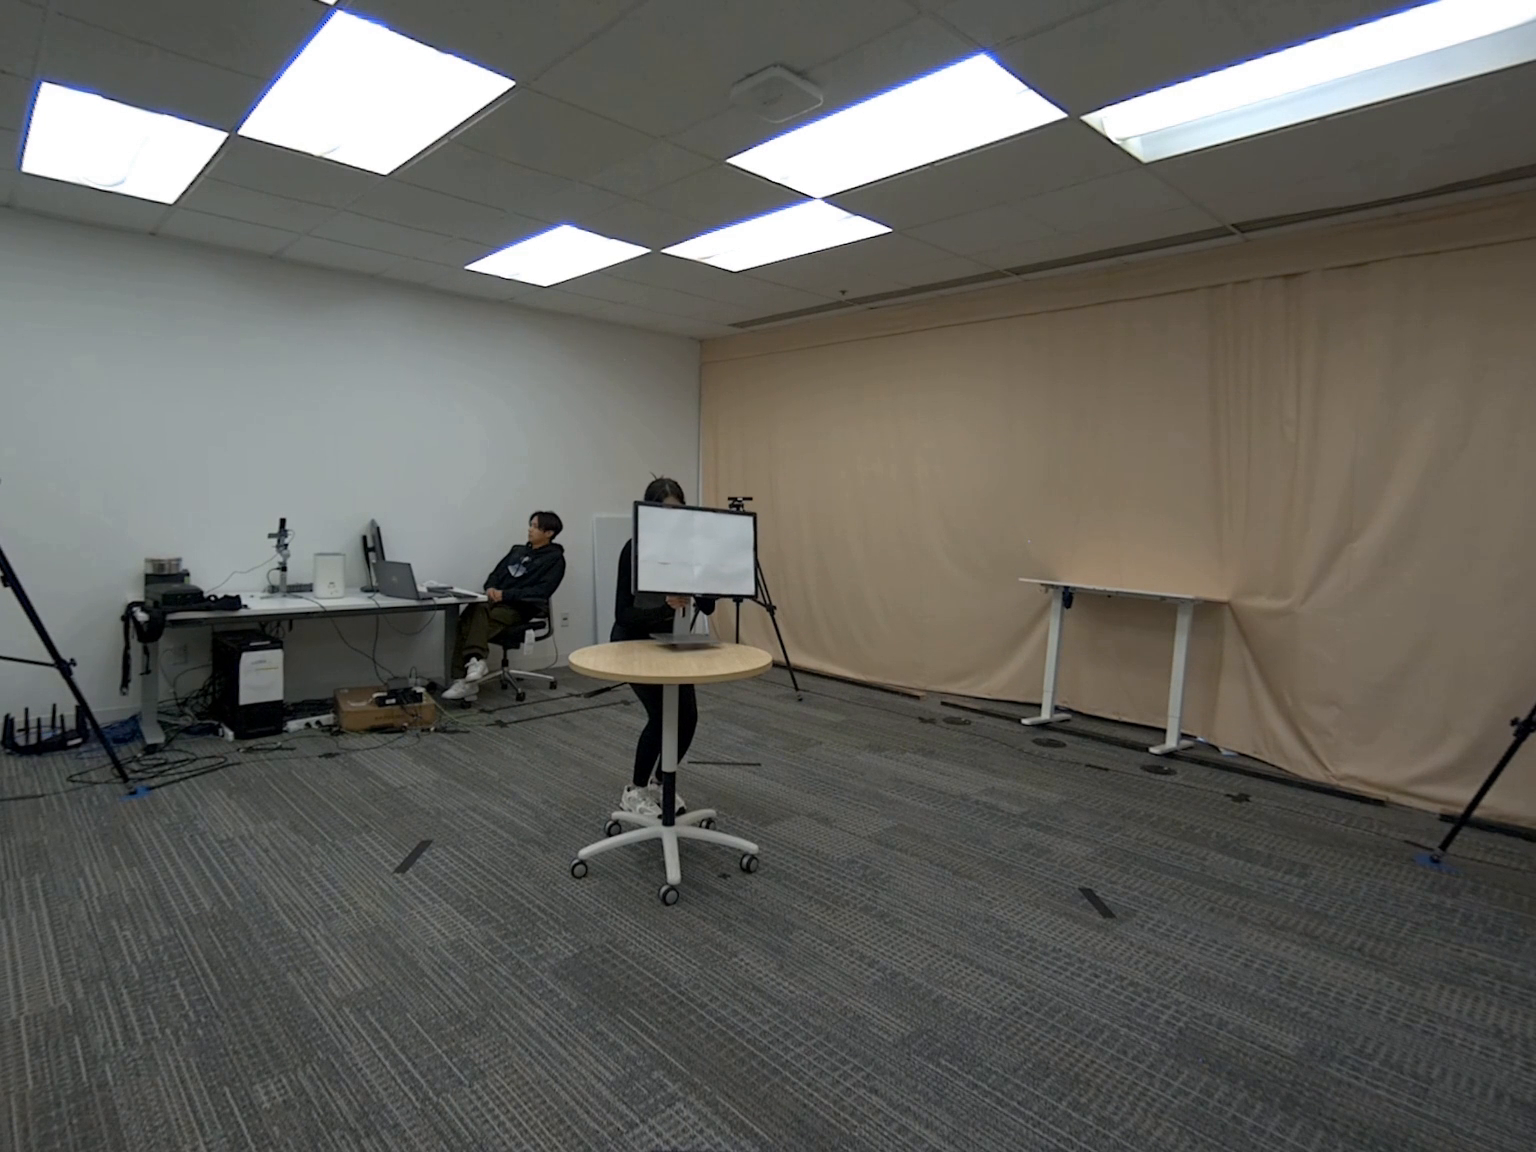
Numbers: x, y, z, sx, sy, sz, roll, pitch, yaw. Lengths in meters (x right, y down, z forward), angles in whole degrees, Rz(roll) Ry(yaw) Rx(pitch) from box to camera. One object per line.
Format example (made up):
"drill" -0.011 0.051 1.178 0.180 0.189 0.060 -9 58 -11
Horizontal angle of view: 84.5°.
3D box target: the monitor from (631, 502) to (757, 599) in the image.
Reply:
"monitor" -0.316 -0.006 3.381 0.527 0.522 0.192 3 3 -33
